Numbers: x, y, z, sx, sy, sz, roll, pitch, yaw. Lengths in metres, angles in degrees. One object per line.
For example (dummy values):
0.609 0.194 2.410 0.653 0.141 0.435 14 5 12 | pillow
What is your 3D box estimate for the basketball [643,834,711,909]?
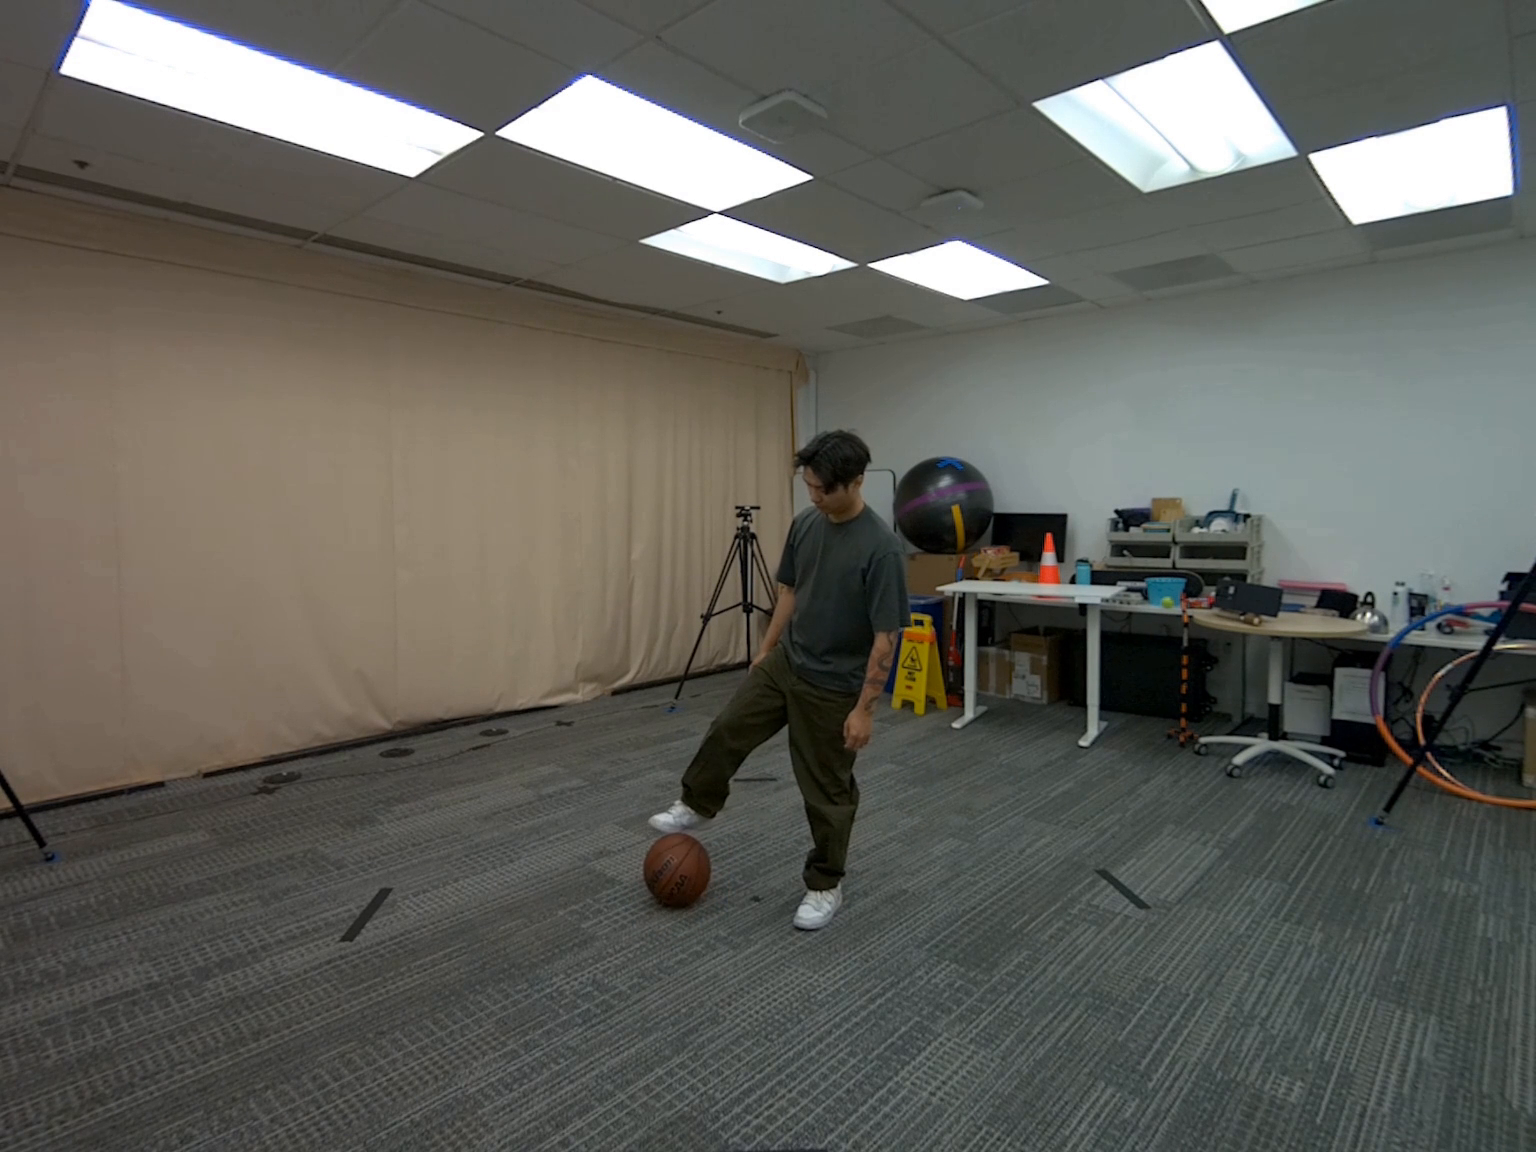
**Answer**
-0.318 1.030 2.956 0.236 0.235 0.237 0 4 -2 | basketball
